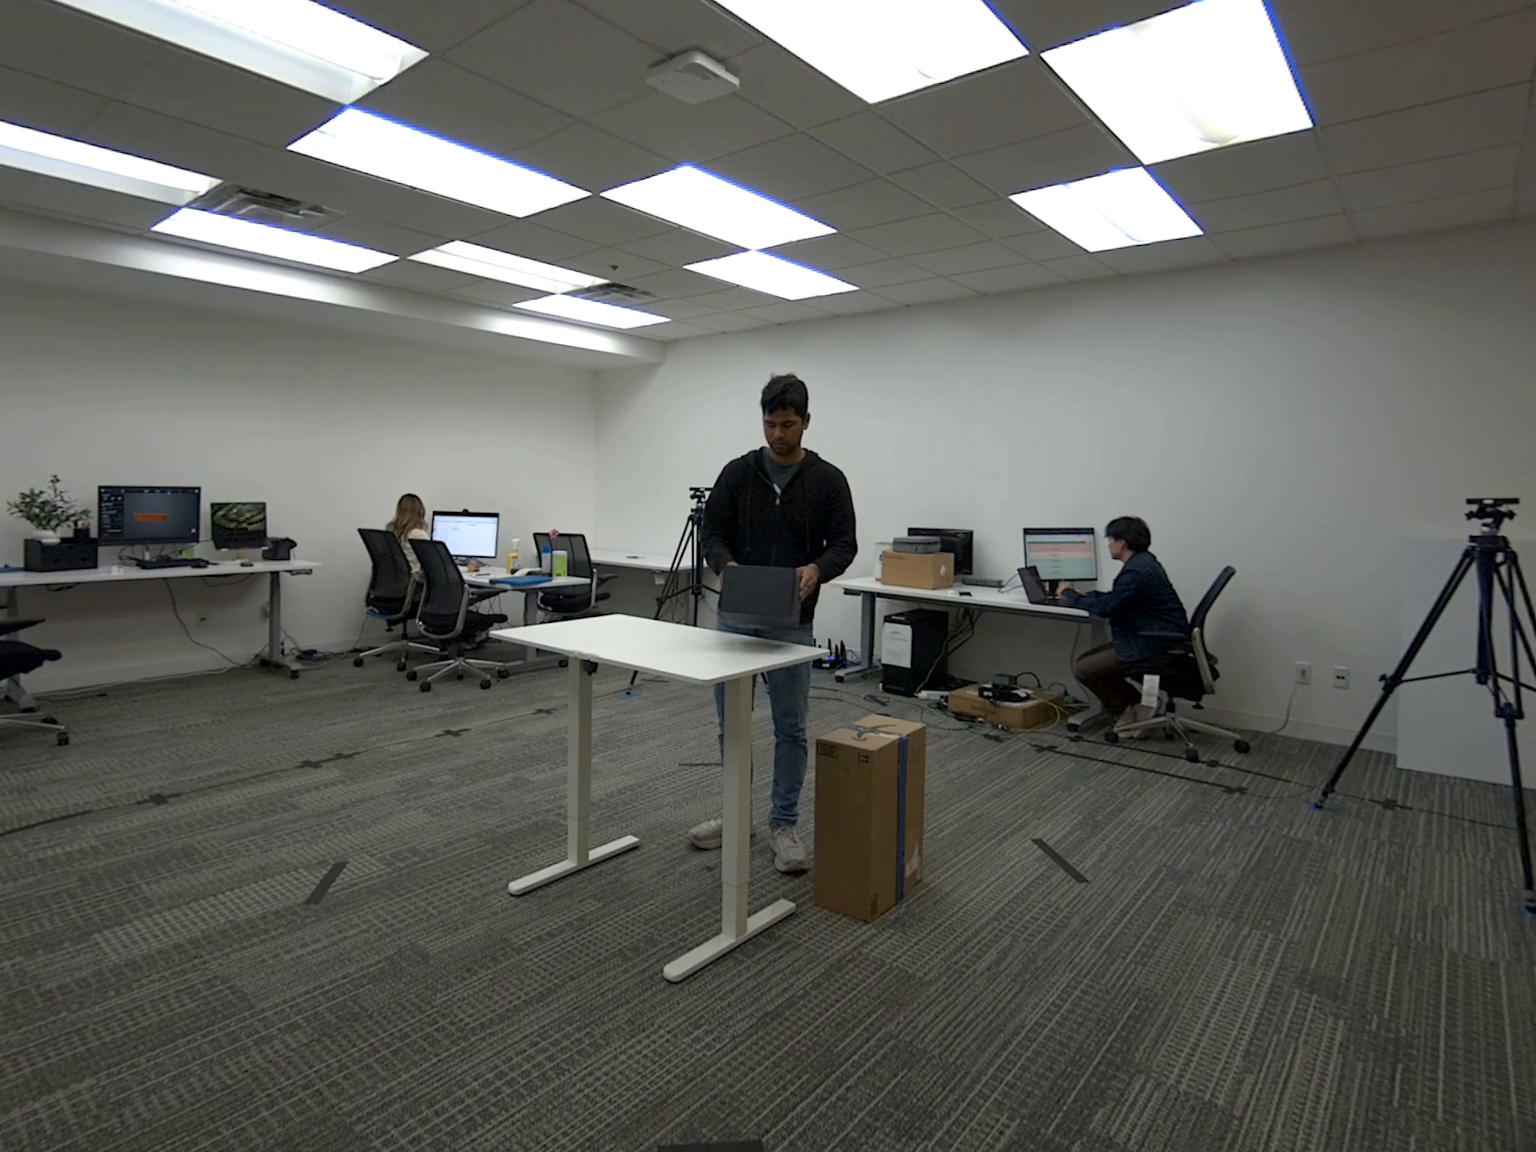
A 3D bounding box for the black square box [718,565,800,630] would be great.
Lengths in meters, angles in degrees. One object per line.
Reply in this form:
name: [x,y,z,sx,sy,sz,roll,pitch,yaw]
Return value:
black square box: [-0.025,0.068,2.752,0.230,0.157,0.212,4,-10,9]
